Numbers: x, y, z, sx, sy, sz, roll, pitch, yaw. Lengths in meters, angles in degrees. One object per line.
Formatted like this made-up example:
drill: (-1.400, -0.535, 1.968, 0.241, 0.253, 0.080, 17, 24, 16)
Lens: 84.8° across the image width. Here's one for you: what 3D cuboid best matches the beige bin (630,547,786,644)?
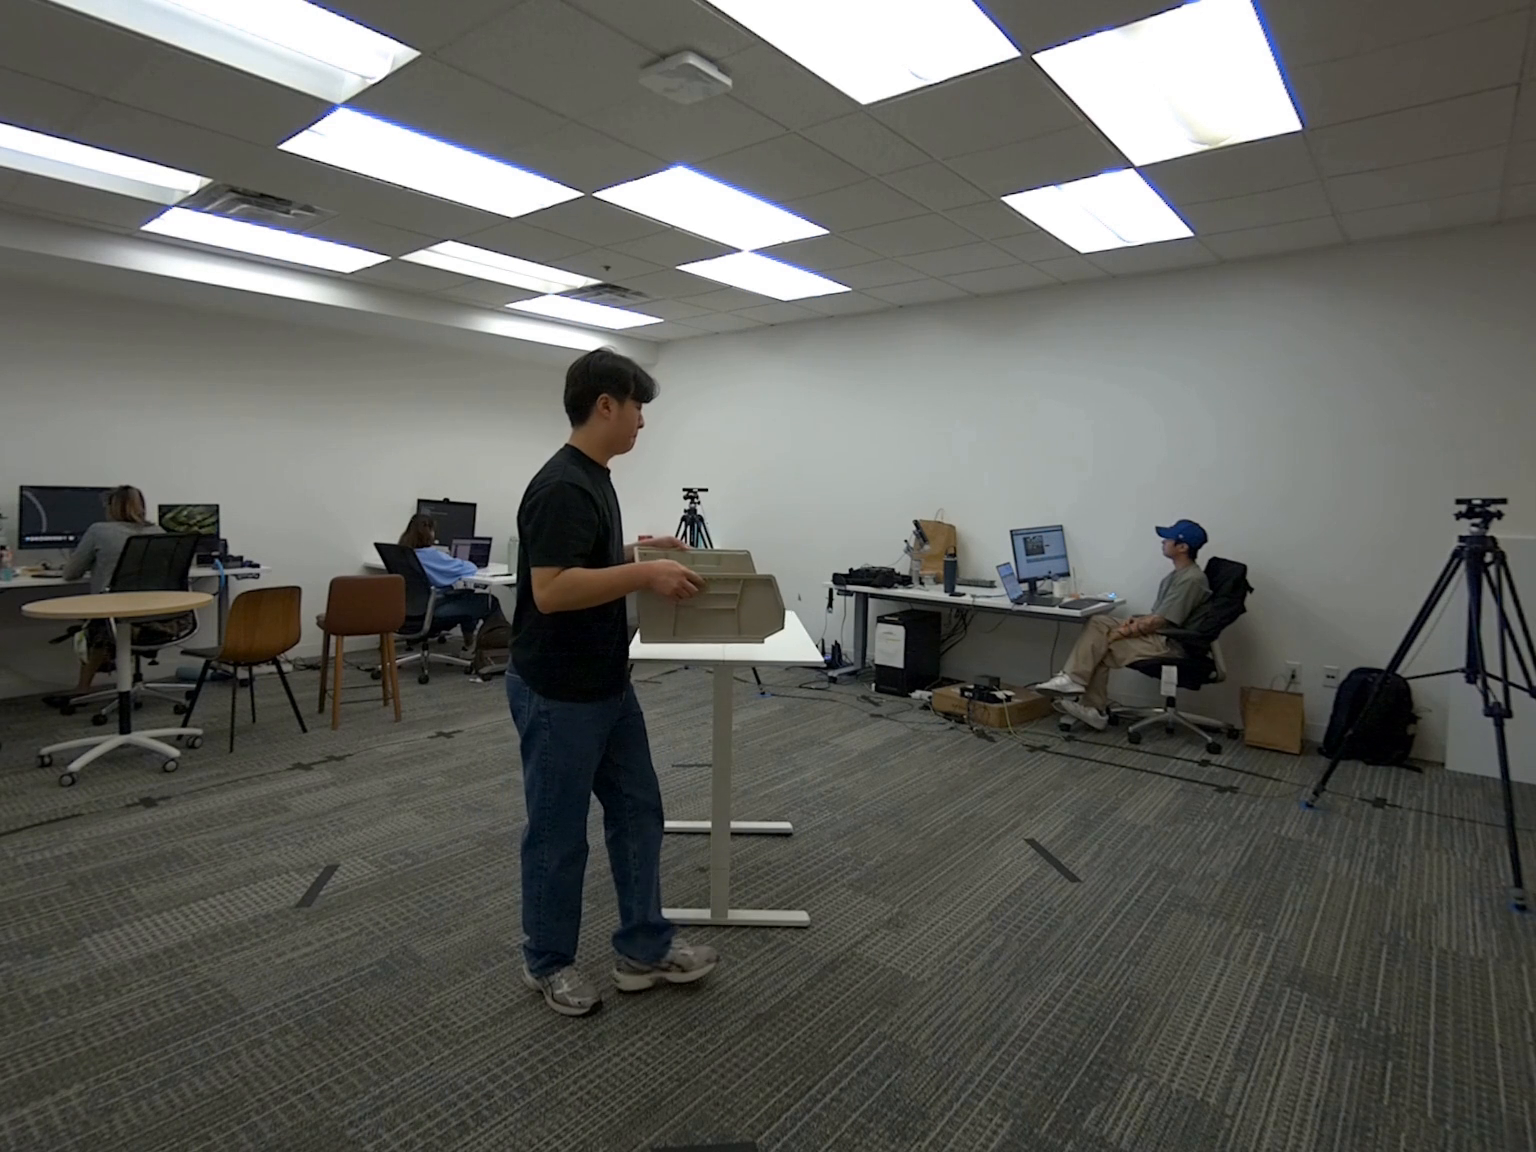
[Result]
beige bin: (-0.177, 0.054, 2.317, 0.374, 0.187, 0.431, -1, 13, -9)
